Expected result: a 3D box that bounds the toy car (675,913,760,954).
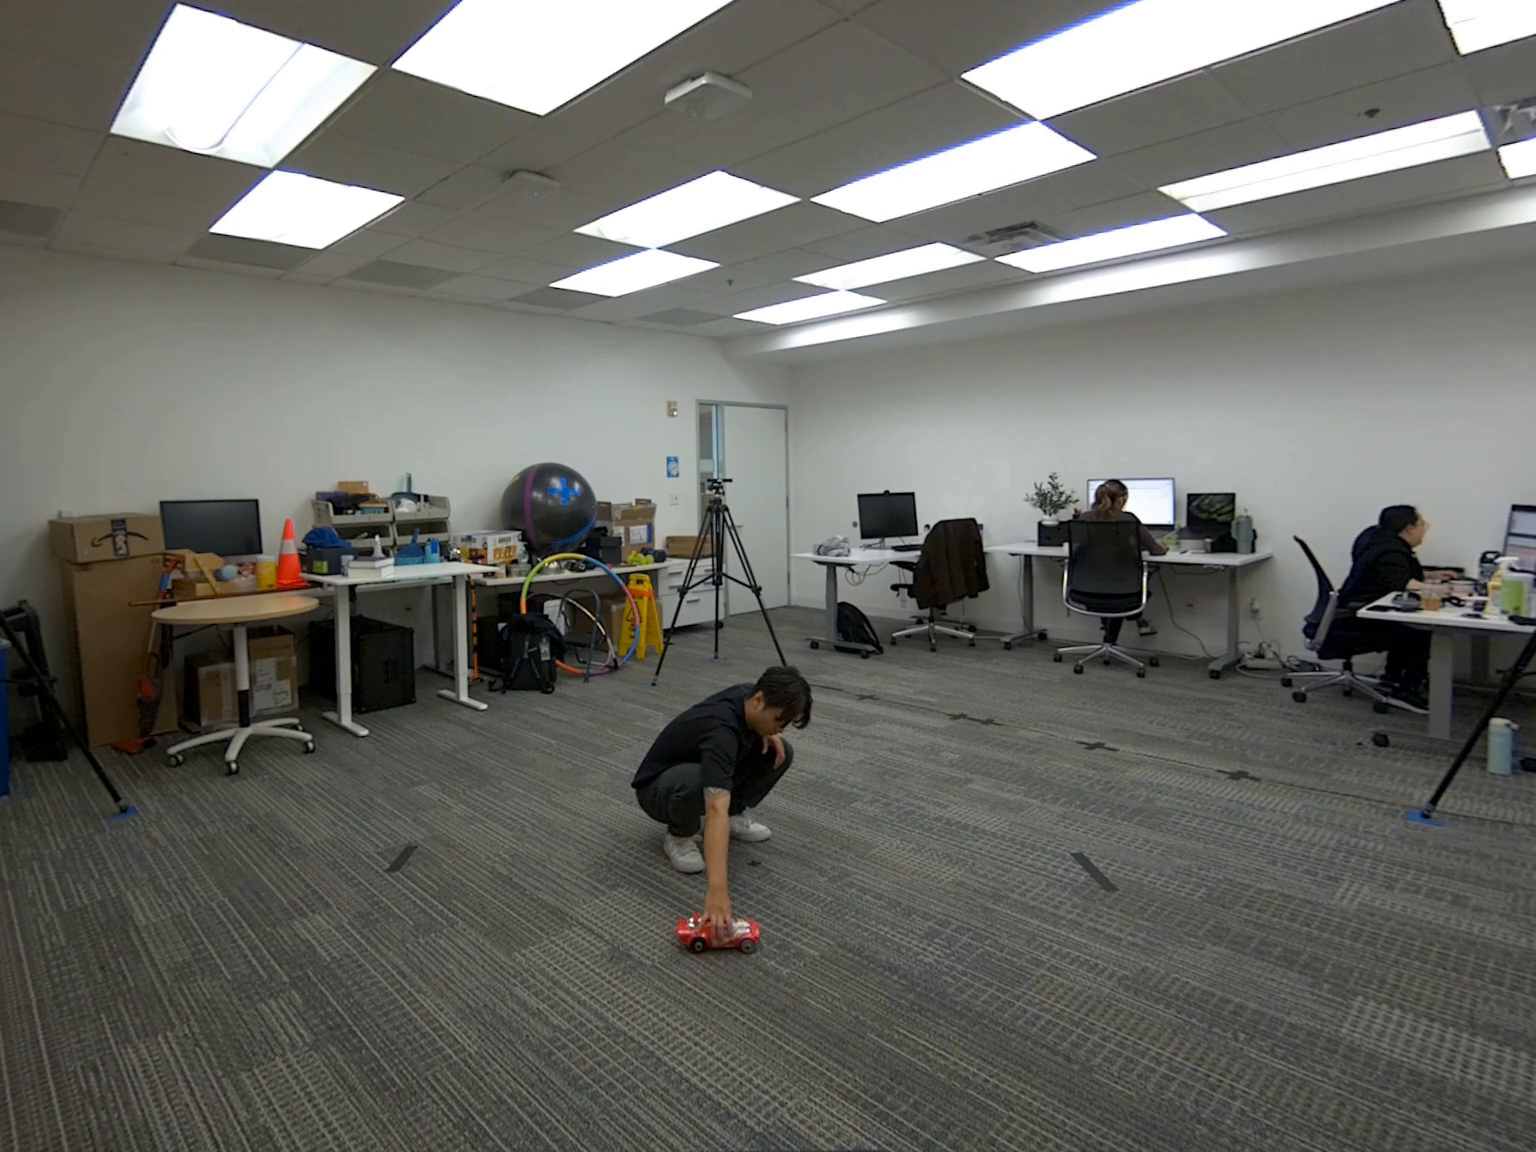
[{"bbox_3d":[-0.153,1.080,2.581,0.255,0.083,0.131,8,5,0],"label":"toy car"}]
